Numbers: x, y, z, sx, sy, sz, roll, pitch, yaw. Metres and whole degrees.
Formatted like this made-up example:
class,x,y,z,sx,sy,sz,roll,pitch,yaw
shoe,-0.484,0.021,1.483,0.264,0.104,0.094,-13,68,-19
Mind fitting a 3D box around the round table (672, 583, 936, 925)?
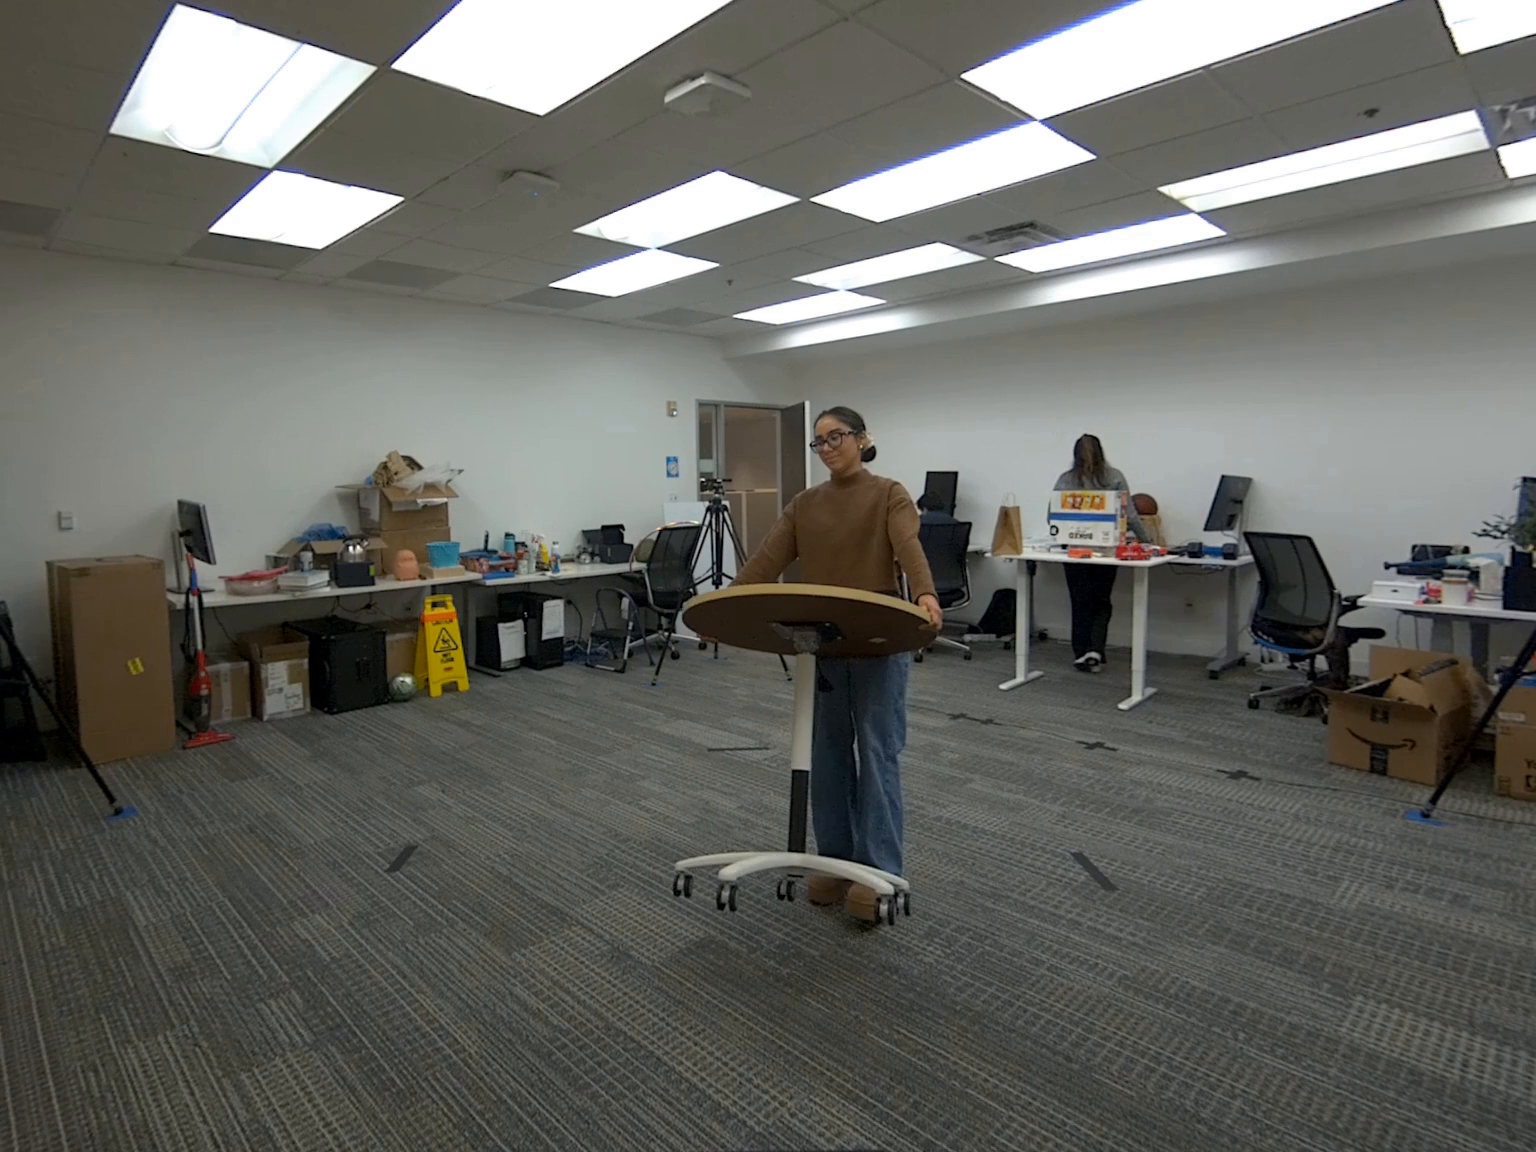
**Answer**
class,x,y,z,sx,sy,sz,roll,pitch,yaw
round table,0.103,0.520,2.436,0.786,0.799,0.772,4,-19,0
